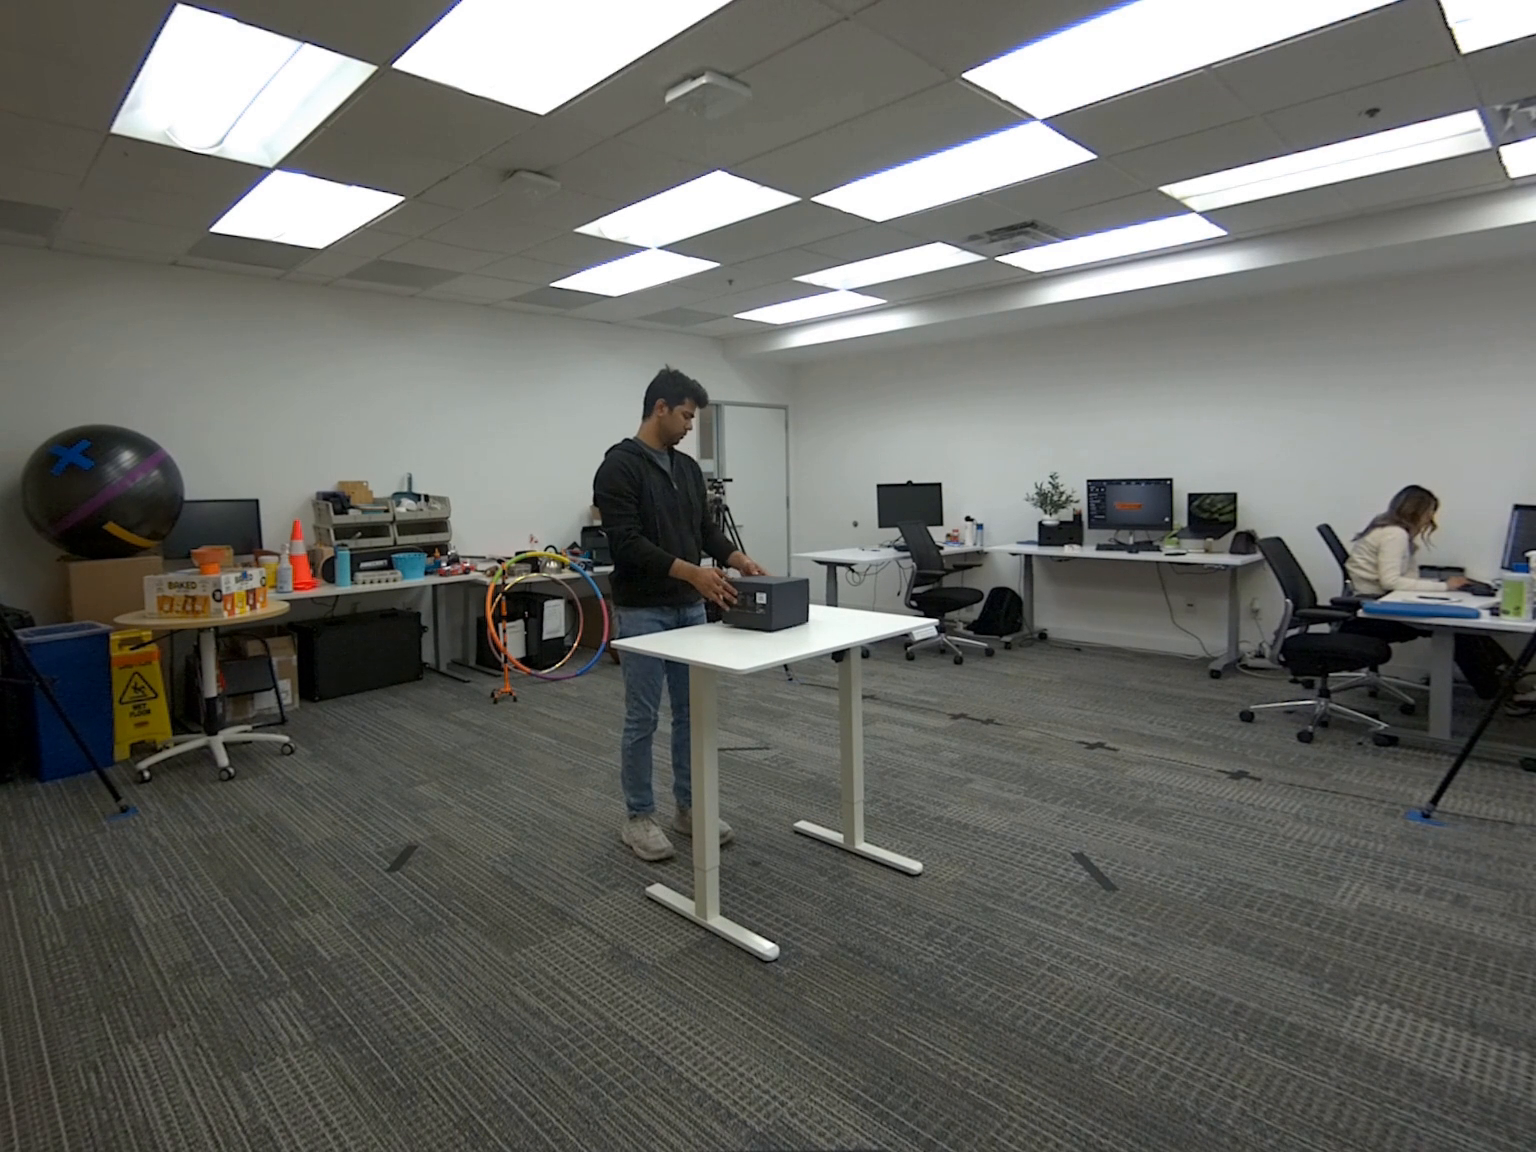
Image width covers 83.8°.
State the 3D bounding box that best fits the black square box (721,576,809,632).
[{"bbox_3d":[0.002,0.077,3.000,0.223,0.155,0.222,2,5,37],"label":"black square box"}]
